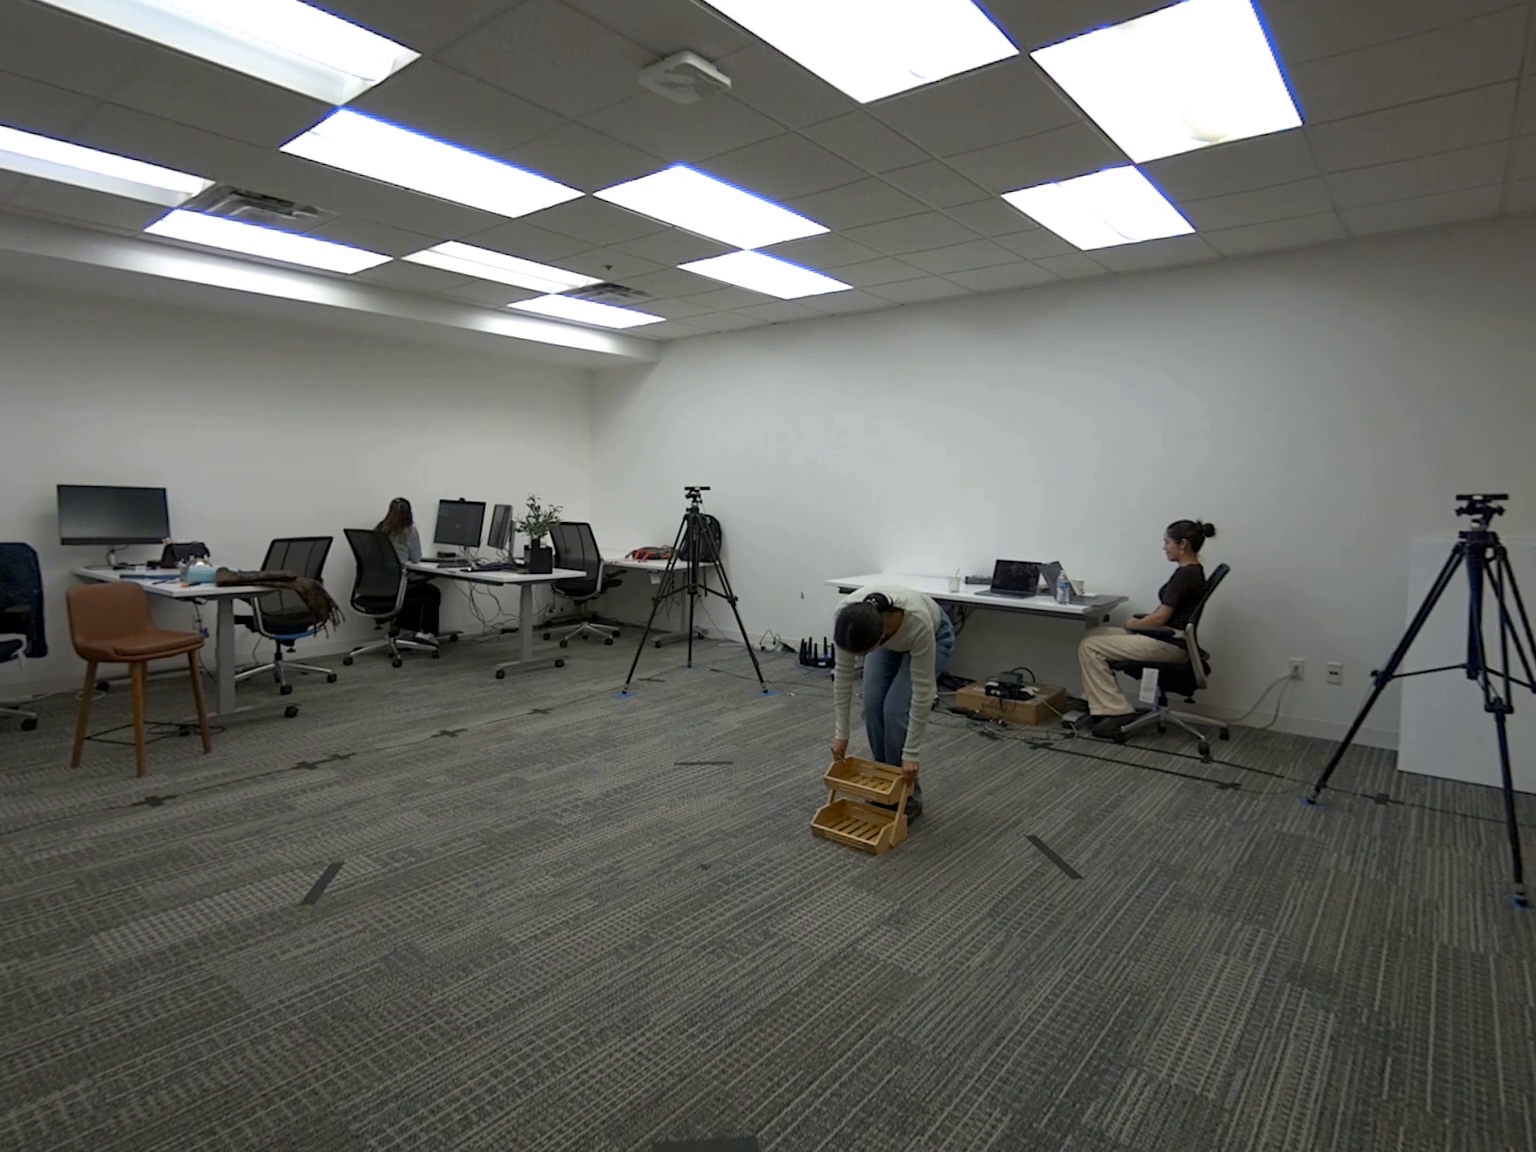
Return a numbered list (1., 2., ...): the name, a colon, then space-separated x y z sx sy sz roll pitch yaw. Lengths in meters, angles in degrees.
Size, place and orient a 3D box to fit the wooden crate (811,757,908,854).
1. wooden crate: 0.372 0.907 3.430 0.335 0.273 0.293 4 4 38
